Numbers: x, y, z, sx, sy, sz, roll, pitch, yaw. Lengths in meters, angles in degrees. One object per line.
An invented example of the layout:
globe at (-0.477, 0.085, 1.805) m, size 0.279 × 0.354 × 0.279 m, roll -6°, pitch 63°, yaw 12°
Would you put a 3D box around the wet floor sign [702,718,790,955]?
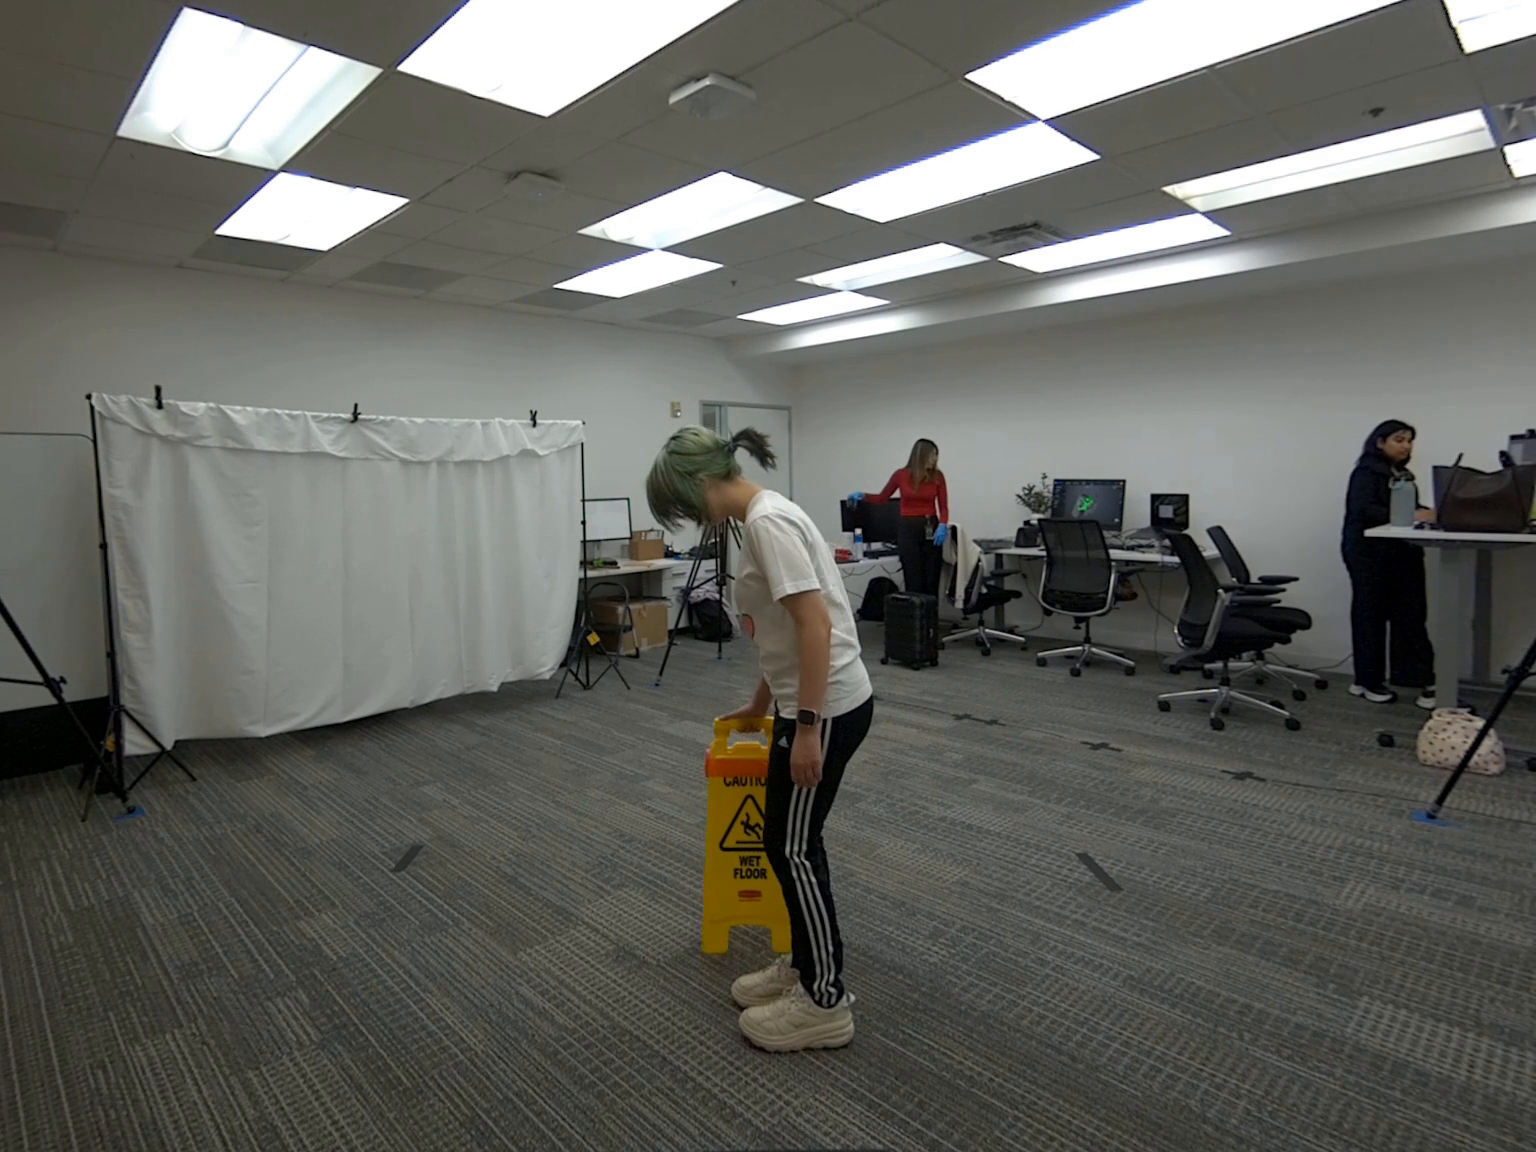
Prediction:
wet floor sign at (-0.058, 0.743, 2.539) m, size 0.281 × 0.645 × 0.291 m, roll 0°, pitch 3°, yaw -3°
